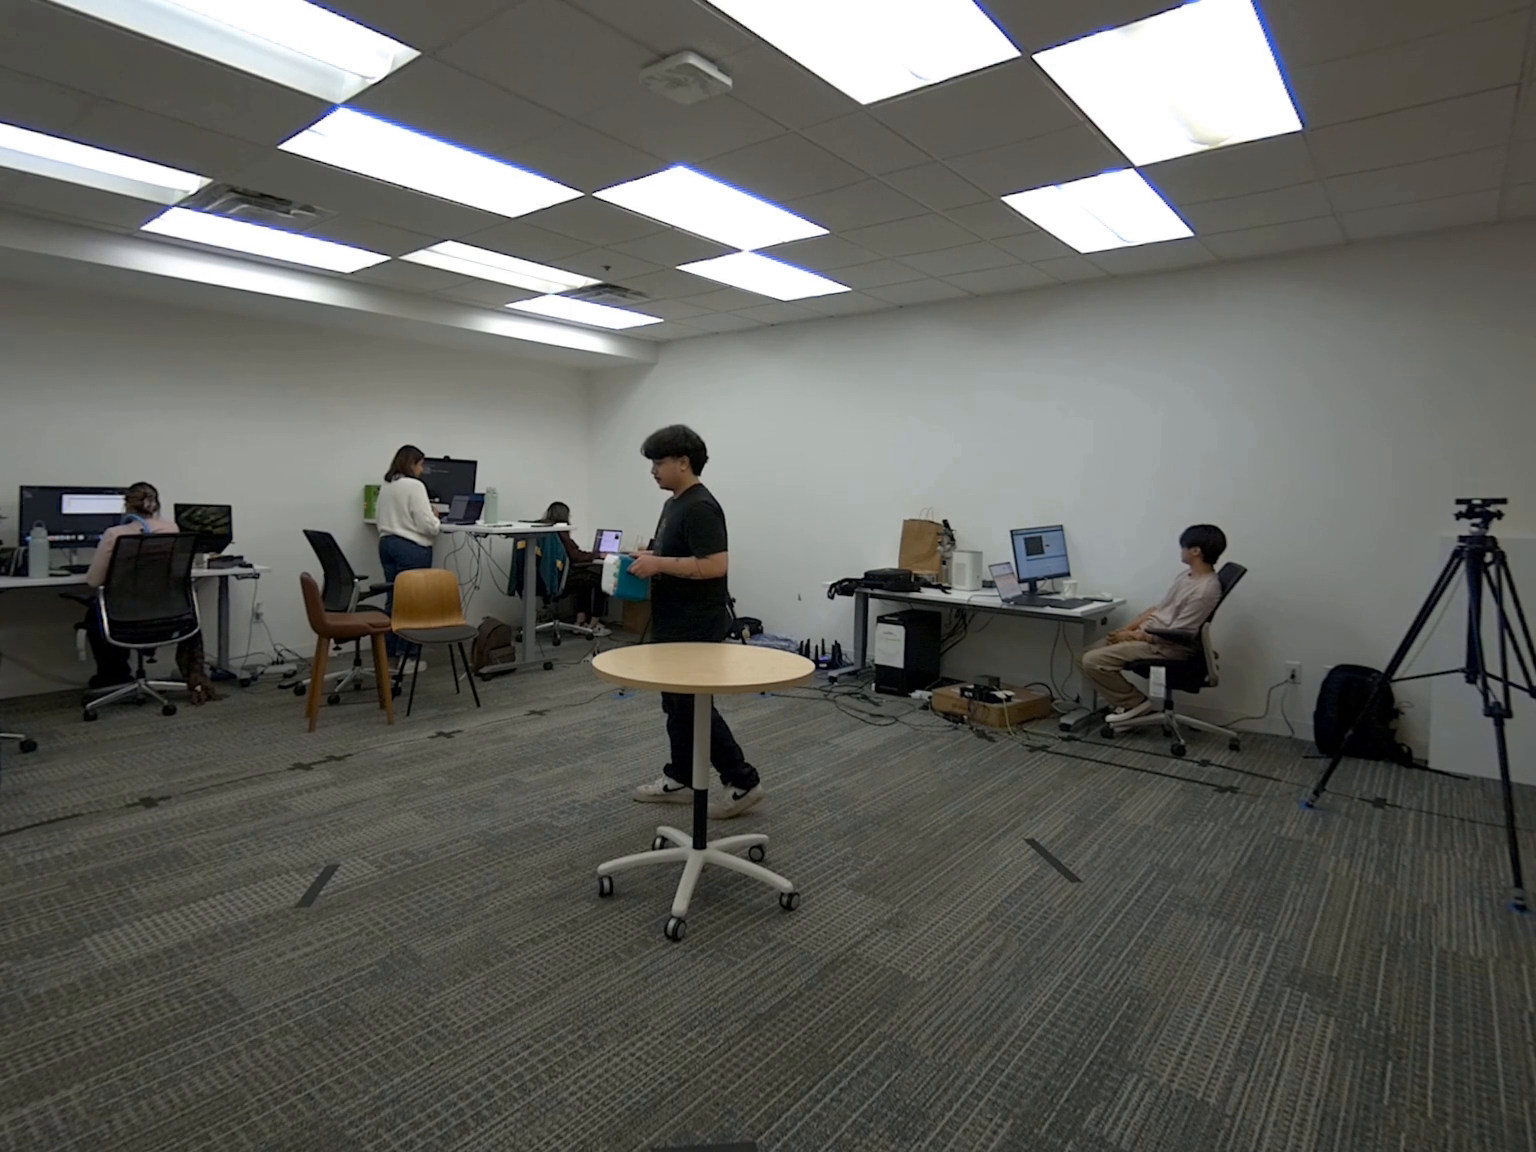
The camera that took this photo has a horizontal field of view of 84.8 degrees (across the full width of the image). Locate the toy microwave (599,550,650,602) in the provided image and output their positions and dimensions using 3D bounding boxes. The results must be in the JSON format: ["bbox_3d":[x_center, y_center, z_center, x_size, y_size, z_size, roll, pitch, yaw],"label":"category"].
[{"bbox_3d":[-0.621,-0.004,3.632,0.149,0.184,0.292,7,1,-20],"label":"toy microwave"}]
